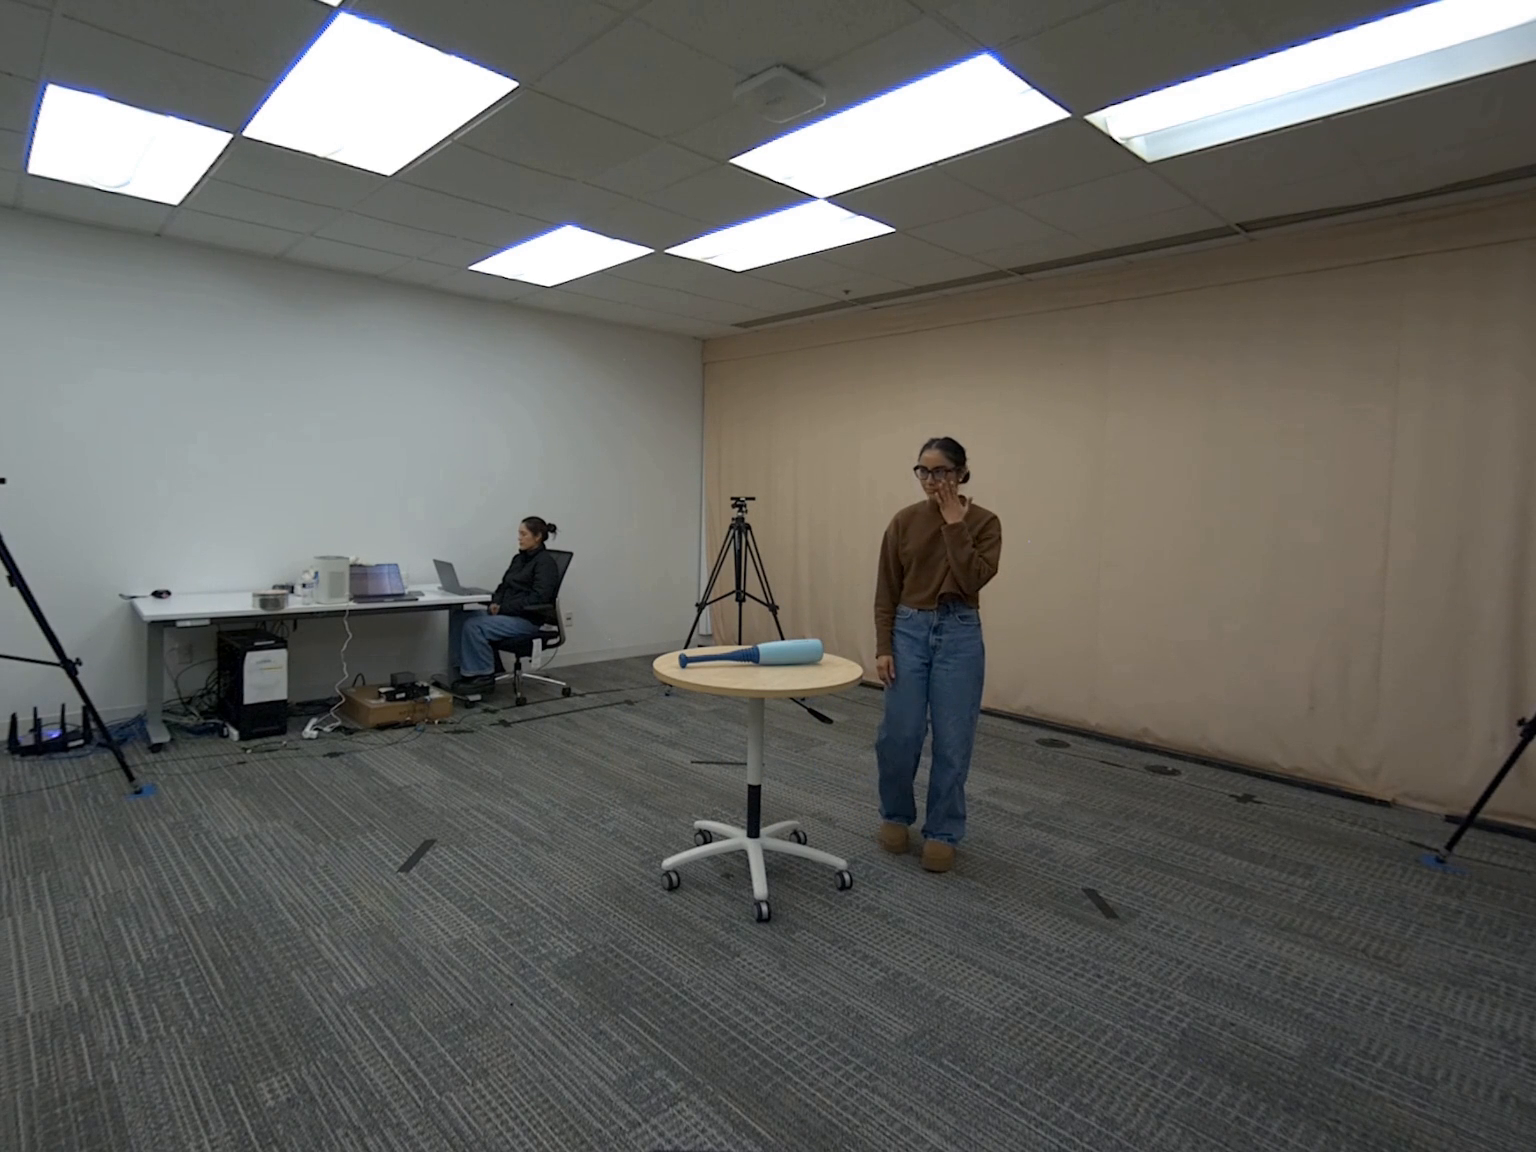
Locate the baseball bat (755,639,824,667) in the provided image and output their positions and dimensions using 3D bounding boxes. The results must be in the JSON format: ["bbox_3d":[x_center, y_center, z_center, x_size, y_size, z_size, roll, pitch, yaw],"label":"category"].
[{"bbox_3d":[-0.059,0.293,3.075,0.537,0.089,0.090,-3,5,-16],"label":"baseball bat"}]
